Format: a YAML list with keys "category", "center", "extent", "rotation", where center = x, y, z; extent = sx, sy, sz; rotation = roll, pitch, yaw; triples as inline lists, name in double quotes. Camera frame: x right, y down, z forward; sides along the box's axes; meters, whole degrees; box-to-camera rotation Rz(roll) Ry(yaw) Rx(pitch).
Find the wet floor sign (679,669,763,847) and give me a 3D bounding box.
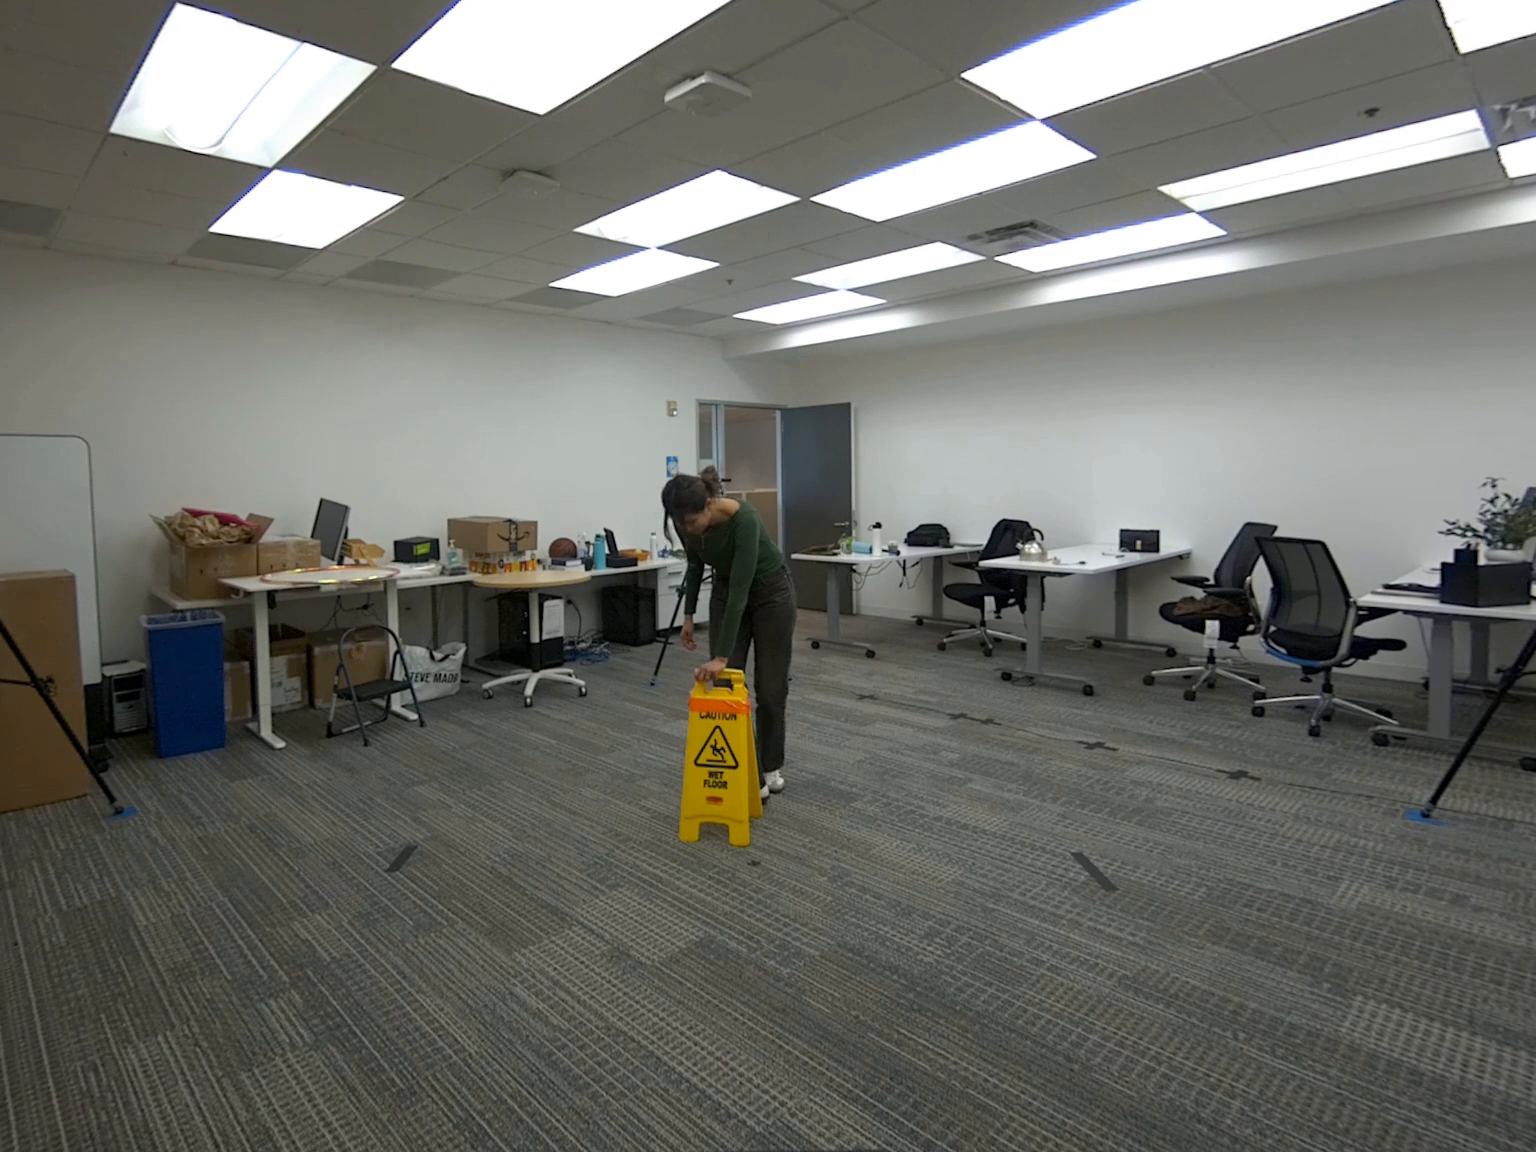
- category: "wet floor sign"
  center: [-0.197, 0.693, 3.401]
  extent: [0.286, 0.644, 0.287]
  rotation: [-1, 4, 12]
